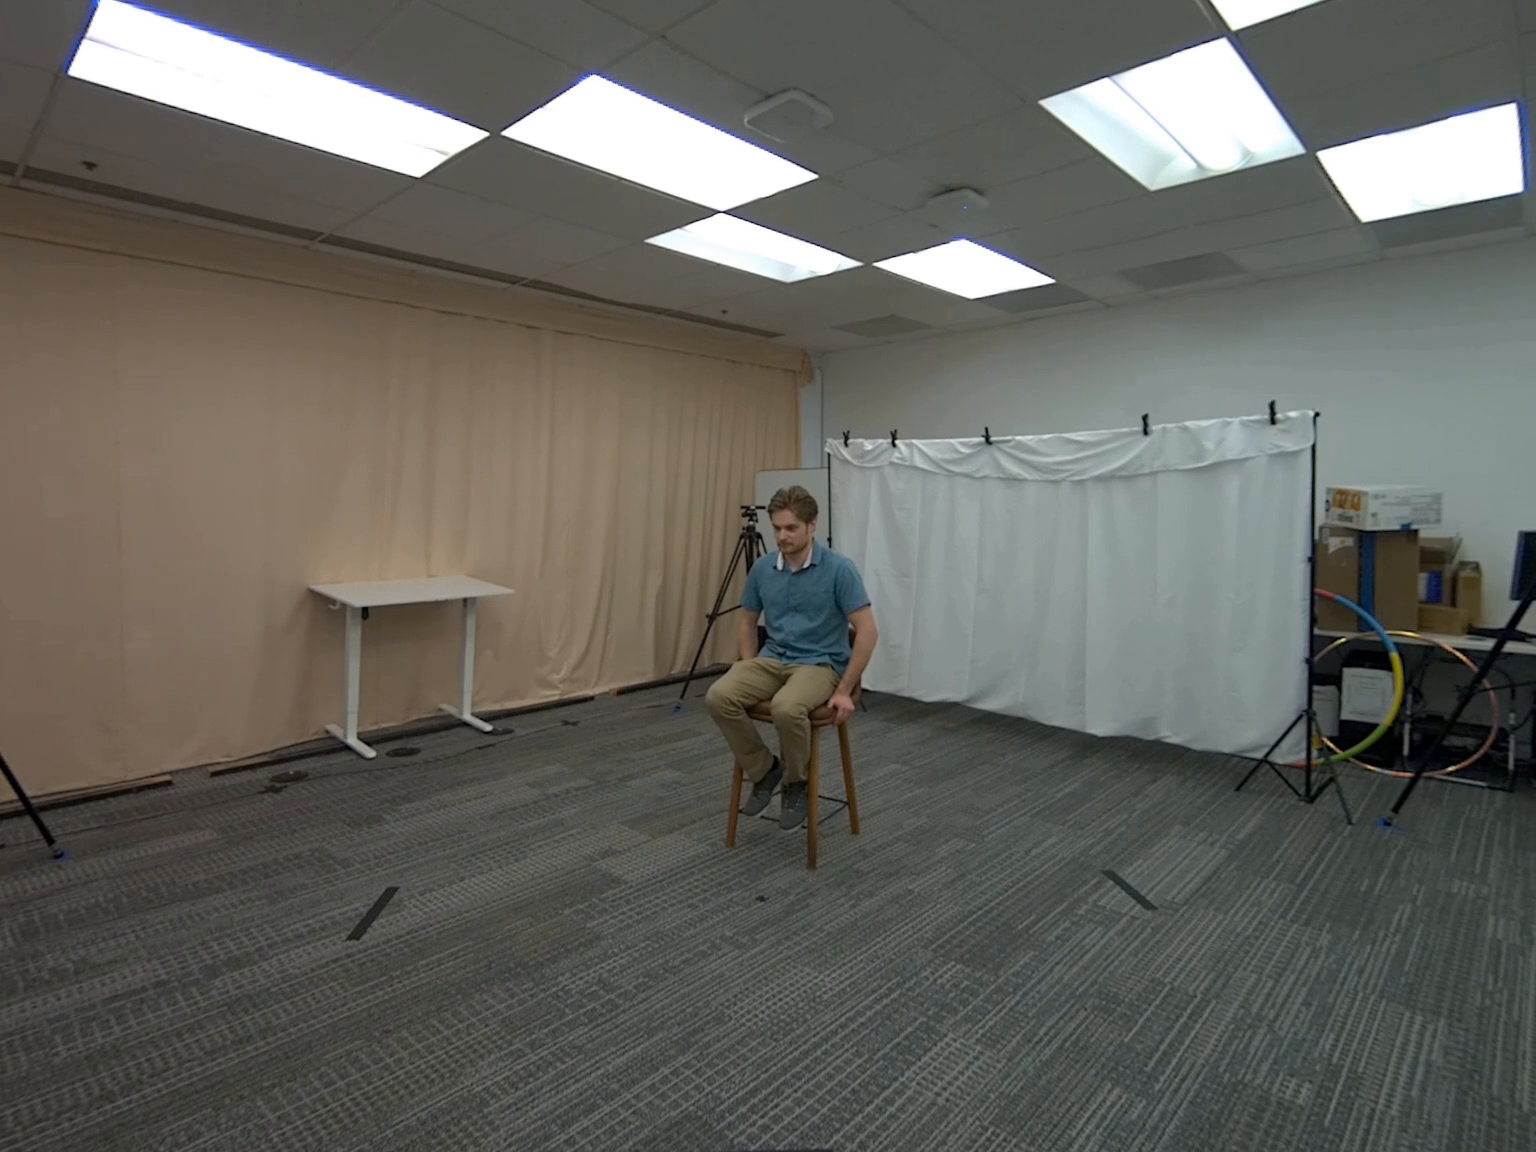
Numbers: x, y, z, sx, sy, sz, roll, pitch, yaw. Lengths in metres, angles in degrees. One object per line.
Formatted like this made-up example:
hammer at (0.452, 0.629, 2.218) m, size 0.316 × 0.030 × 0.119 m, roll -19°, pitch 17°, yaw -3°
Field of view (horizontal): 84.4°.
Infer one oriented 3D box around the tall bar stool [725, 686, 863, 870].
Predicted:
tall bar stool at (0.131, 0.664, 3.493) m, size 0.471 × 0.889 × 0.453 m, roll 3°, pitch 2°, yaw 34°
